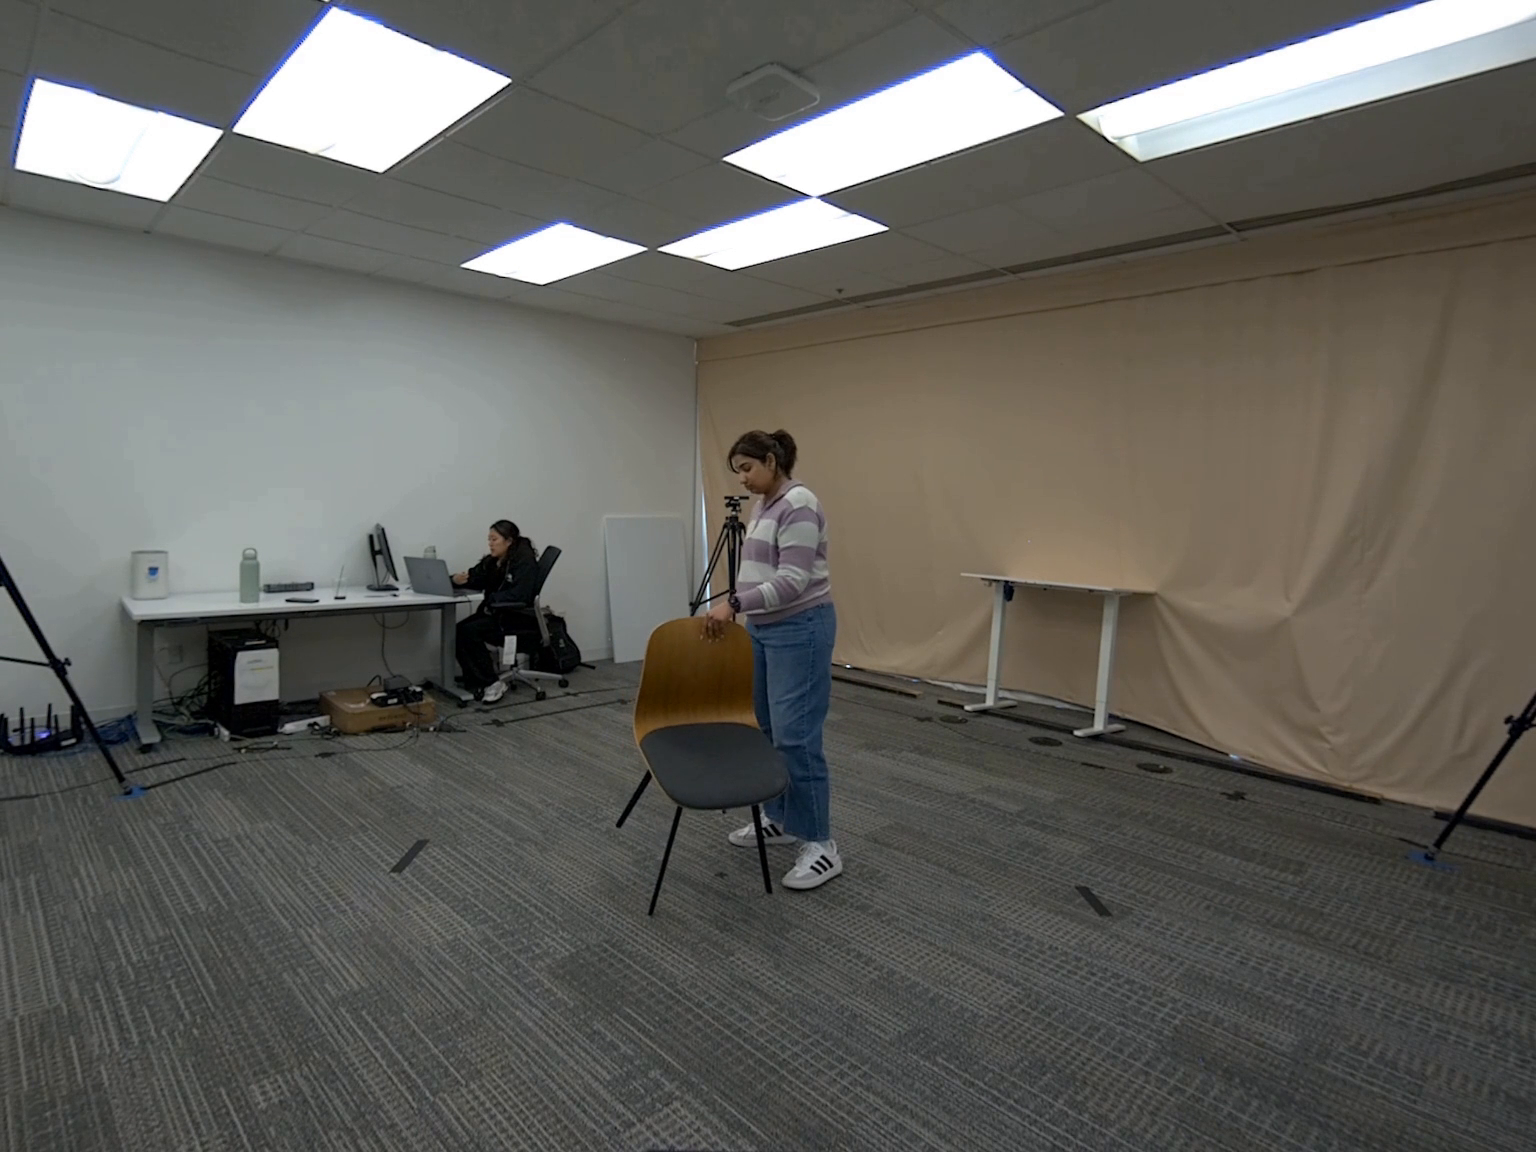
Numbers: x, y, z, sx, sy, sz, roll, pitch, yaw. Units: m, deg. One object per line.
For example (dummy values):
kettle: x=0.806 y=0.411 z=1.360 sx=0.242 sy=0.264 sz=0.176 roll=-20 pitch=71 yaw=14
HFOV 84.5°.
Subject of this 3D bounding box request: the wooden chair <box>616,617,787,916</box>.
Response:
wooden chair: x=-0.214 y=0.649 z=2.902 sx=0.470 sy=0.868 sz=0.538 roll=0 pitch=18 yaw=-25
